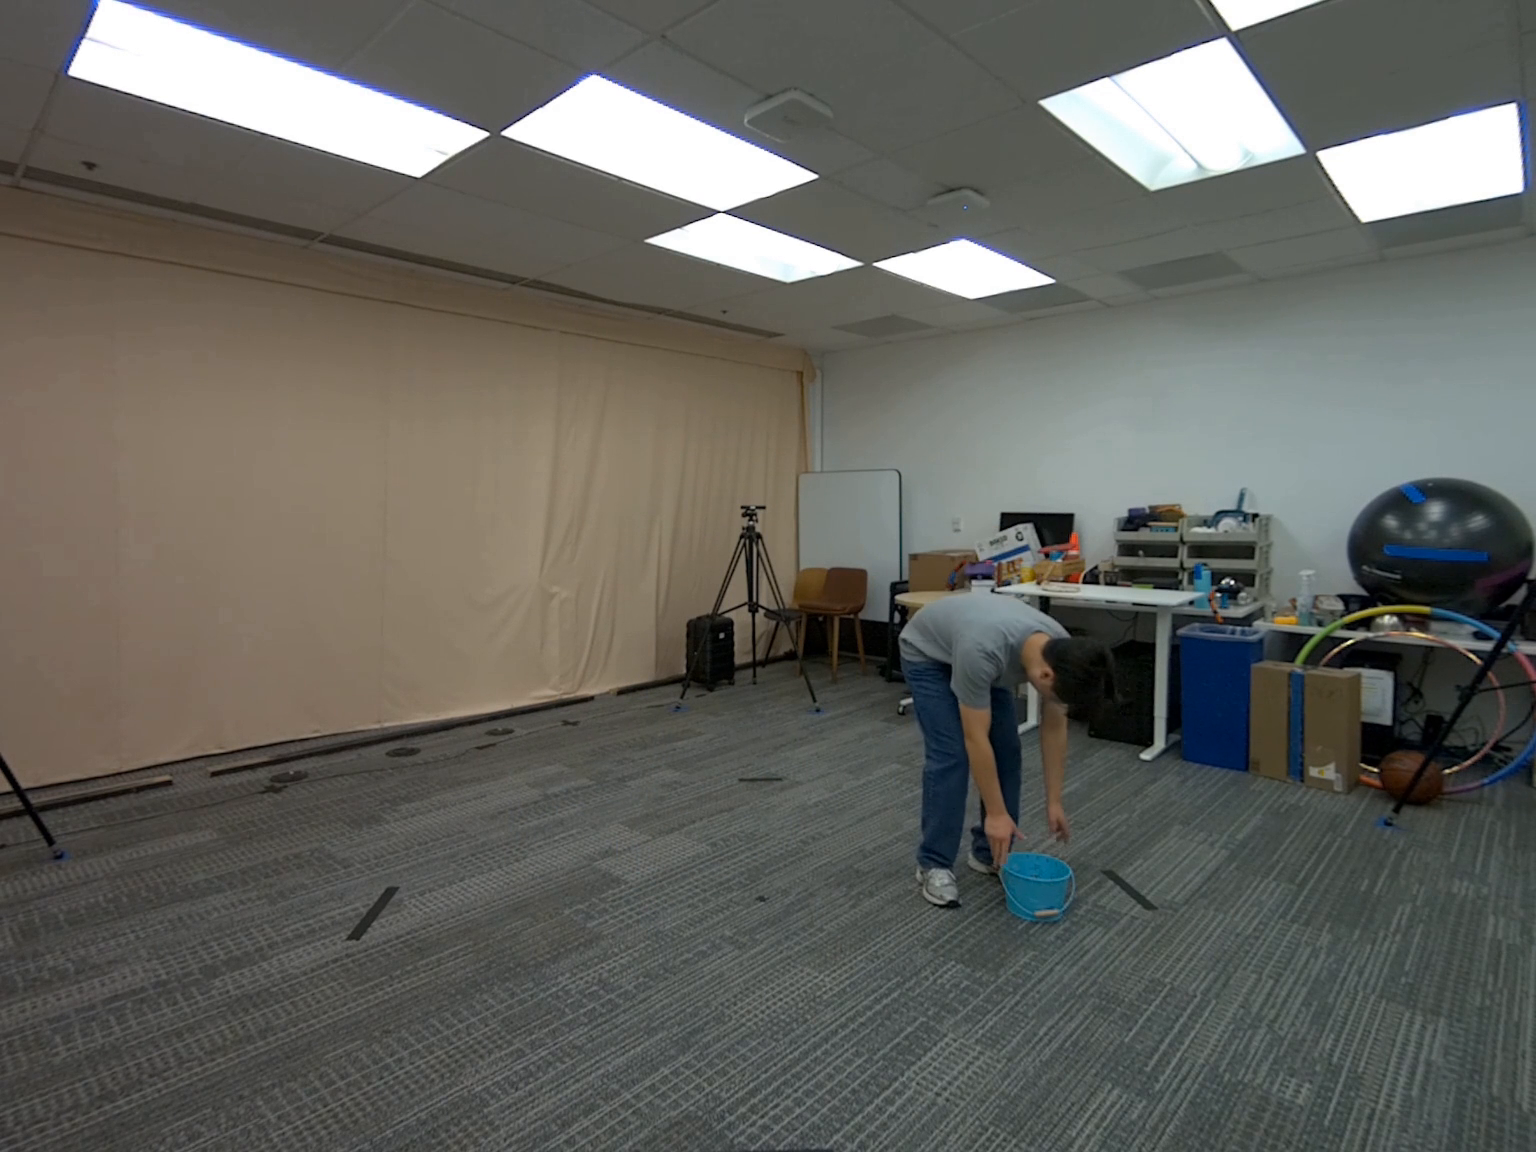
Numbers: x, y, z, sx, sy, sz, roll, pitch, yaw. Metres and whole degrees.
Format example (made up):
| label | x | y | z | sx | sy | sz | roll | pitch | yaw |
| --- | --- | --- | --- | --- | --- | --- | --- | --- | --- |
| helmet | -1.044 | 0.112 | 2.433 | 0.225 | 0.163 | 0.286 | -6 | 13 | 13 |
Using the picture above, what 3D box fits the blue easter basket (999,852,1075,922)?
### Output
| label | x | y | z | sx | sy | sz | roll | pitch | yaw |
| --- | --- | --- | --- | --- | --- | --- | --- | --- | --- |
| blue easter basket | 0.916 | 1.066 | 2.902 | 0.243 | 0.155 | 0.244 | 1 | 5 | -2 |
